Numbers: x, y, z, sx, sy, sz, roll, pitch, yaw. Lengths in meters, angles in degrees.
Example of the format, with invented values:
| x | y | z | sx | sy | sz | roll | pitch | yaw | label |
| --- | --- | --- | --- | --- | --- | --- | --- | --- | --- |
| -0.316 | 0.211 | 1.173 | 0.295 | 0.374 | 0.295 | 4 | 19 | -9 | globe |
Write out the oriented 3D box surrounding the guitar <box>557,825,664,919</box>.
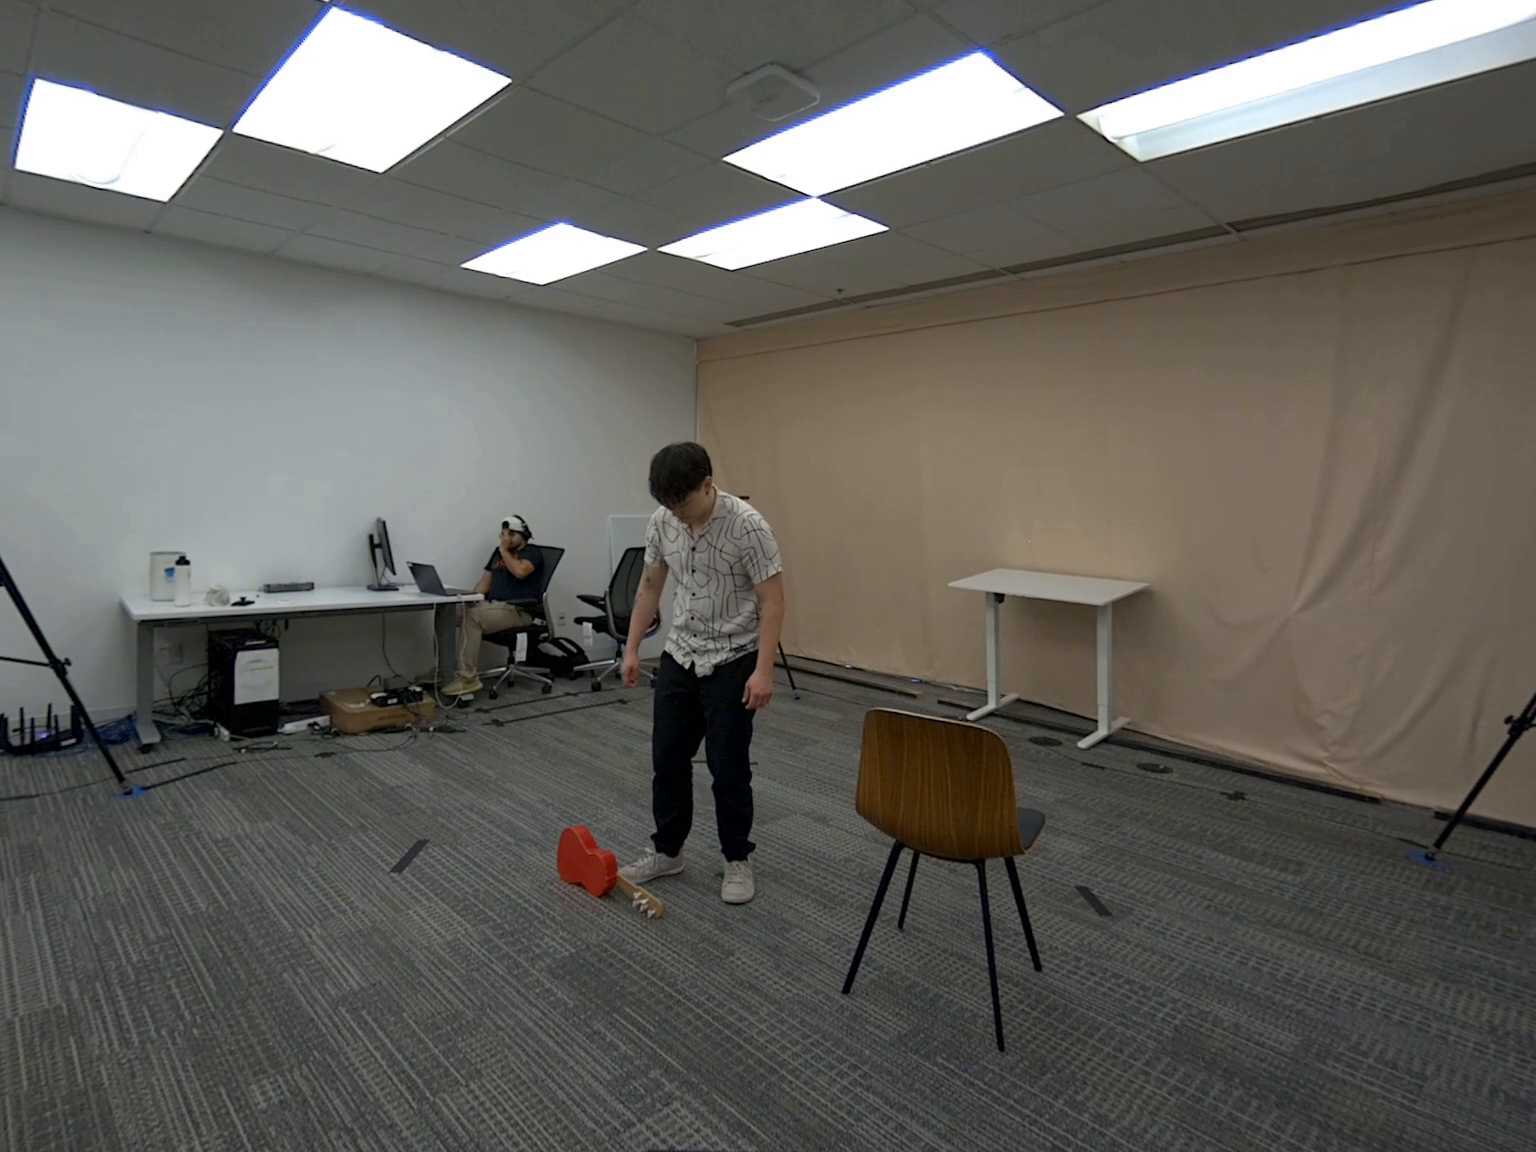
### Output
| x | y | z | sx | sy | sz | roll | pitch | yaw | label |
| --- | --- | --- | --- | --- | --- | --- | --- | --- | --- |
| -0.555 | 1.021 | 2.909 | 0.510 | 0.193 | 0.069 | 6 | 1 | 40 | guitar |
